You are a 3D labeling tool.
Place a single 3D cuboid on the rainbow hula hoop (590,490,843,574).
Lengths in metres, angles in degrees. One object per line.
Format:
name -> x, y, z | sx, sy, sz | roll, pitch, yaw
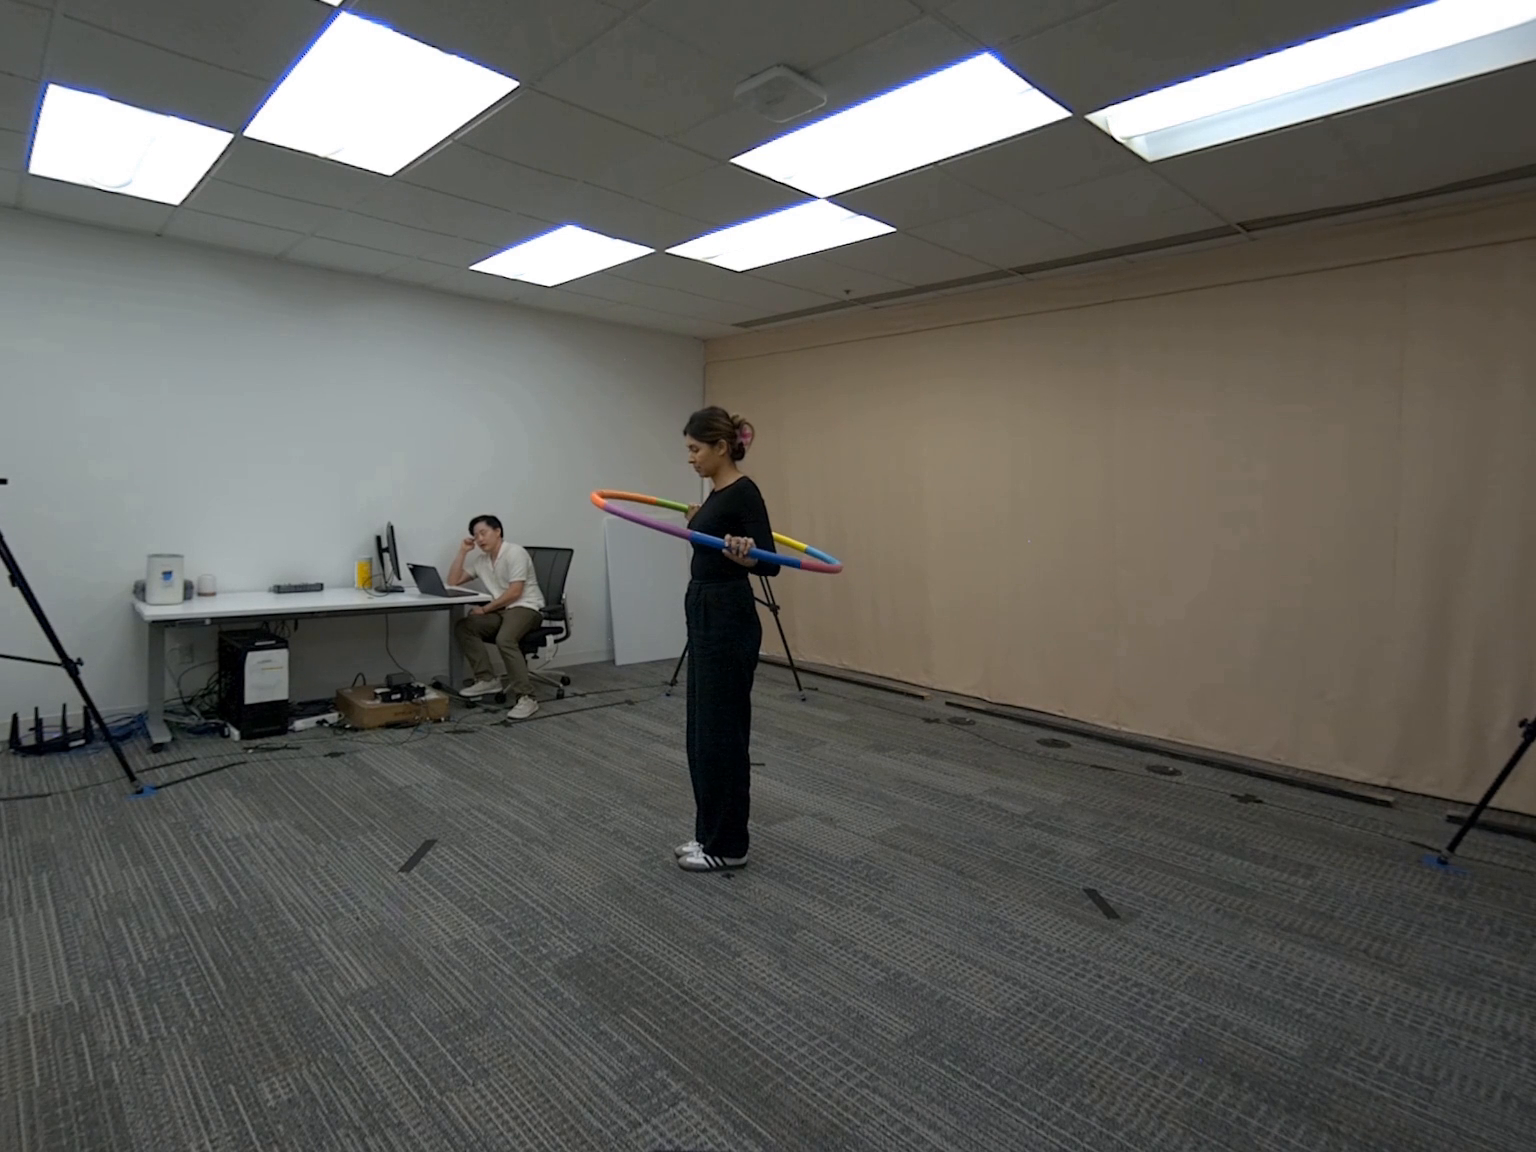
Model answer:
rainbow hula hoop -> -0.202, -0.165, 3.130 | 0.976, 0.035, 0.986 | 16, 9, -4
